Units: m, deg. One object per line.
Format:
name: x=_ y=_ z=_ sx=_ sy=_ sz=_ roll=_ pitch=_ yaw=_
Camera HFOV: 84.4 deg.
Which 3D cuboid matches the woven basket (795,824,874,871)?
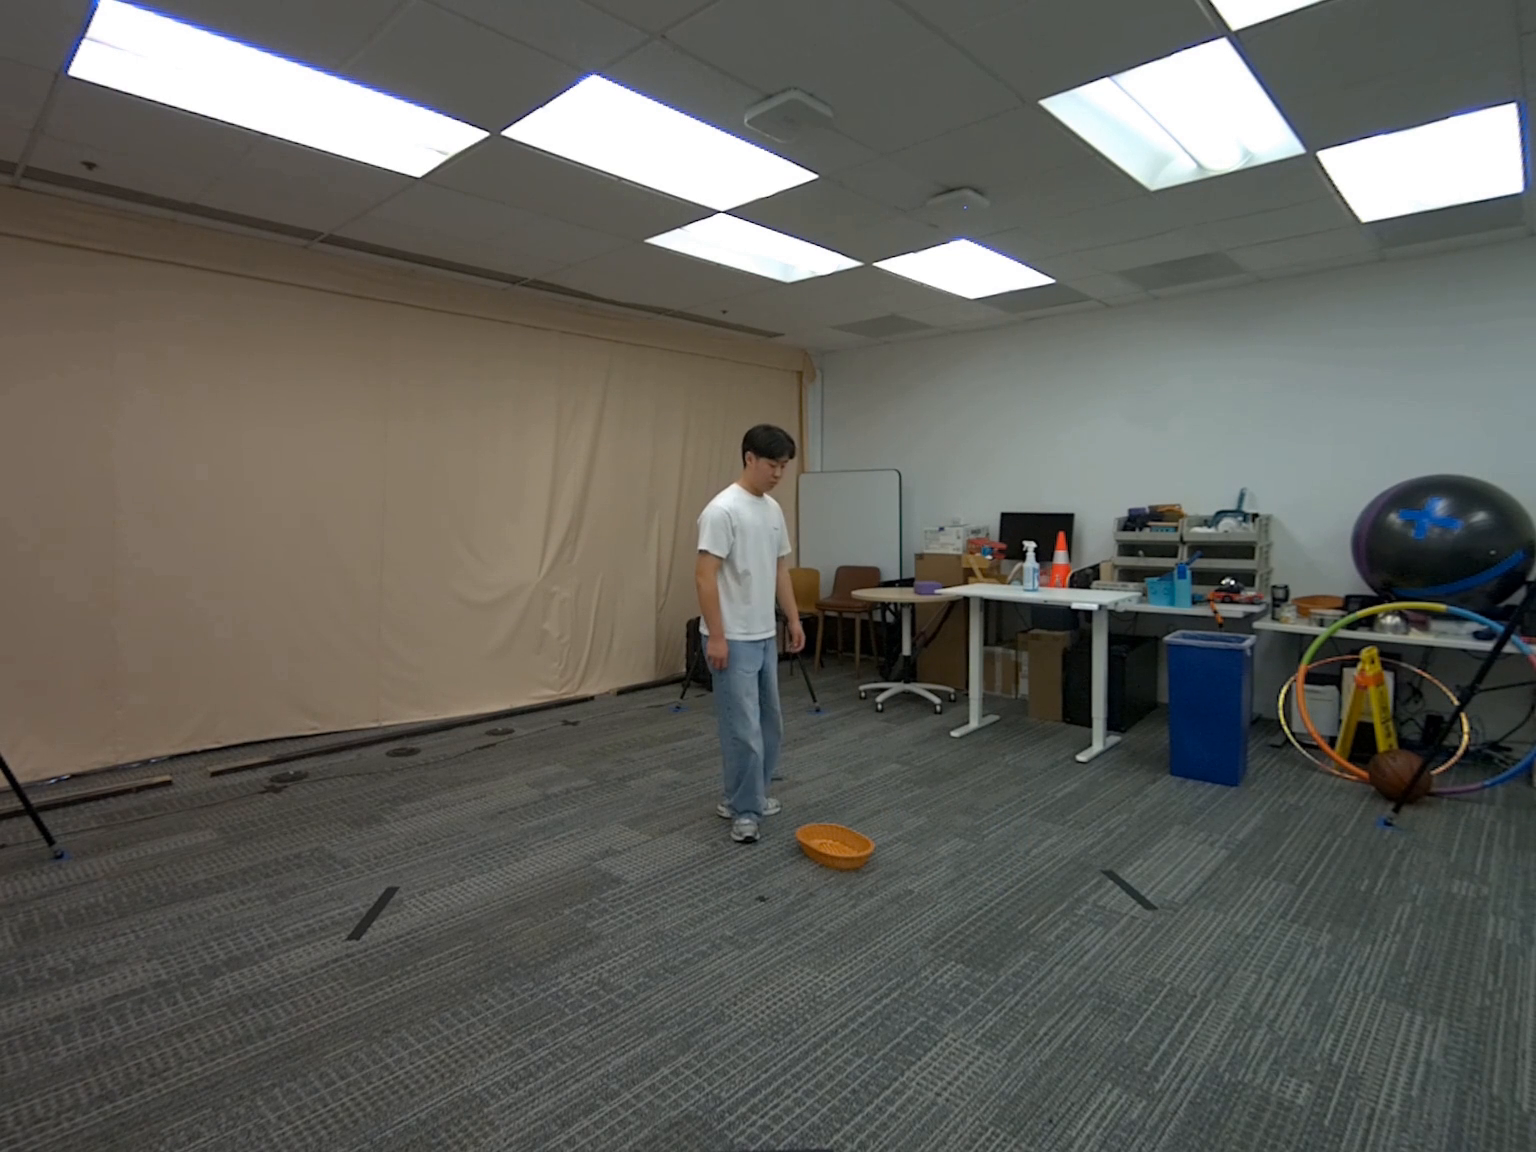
woven basket: x=0.260 y=1.076 z=3.334 sx=0.246 sy=0.073 sz=0.361 roll=-3 pitch=5 yaw=-30
